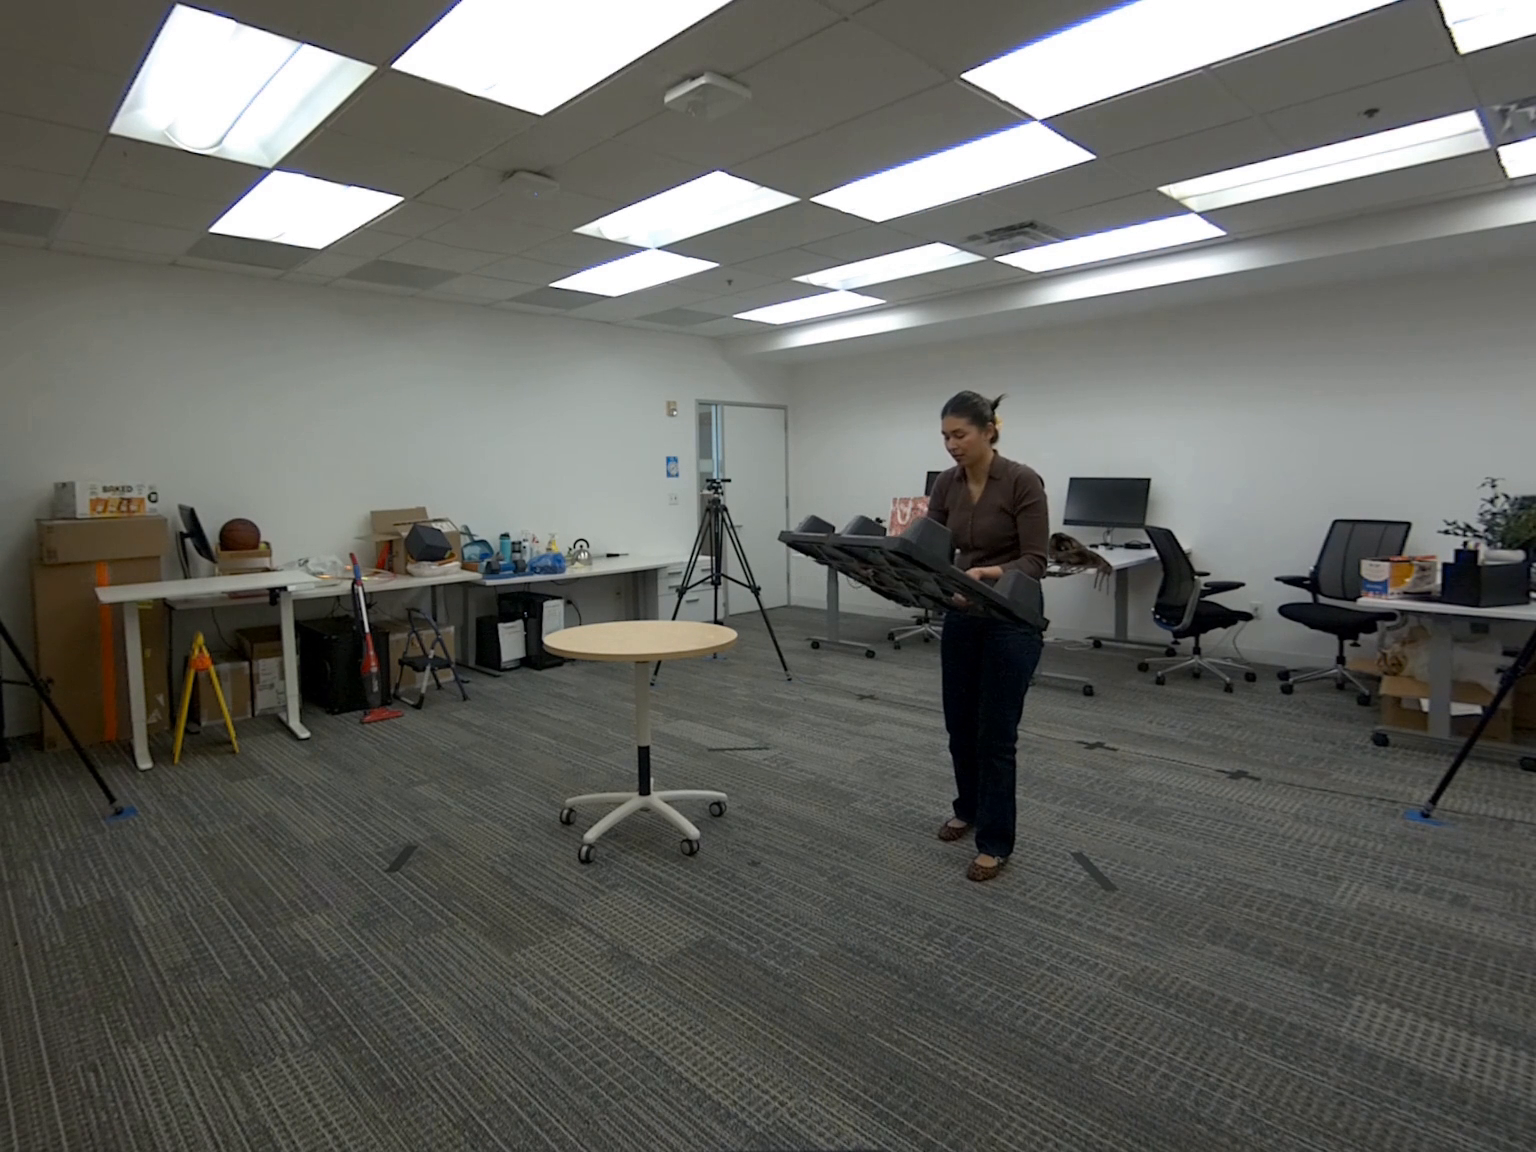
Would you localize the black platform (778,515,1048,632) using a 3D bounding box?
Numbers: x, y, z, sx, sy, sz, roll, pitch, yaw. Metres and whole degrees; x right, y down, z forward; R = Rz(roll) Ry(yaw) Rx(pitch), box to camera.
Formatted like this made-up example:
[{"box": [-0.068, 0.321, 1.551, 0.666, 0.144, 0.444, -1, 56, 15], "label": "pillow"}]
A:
[{"box": [0.466, -0.036, 2.859, 0.589, 0.144, 0.824, 27, -7, -23], "label": "black platform"}]
